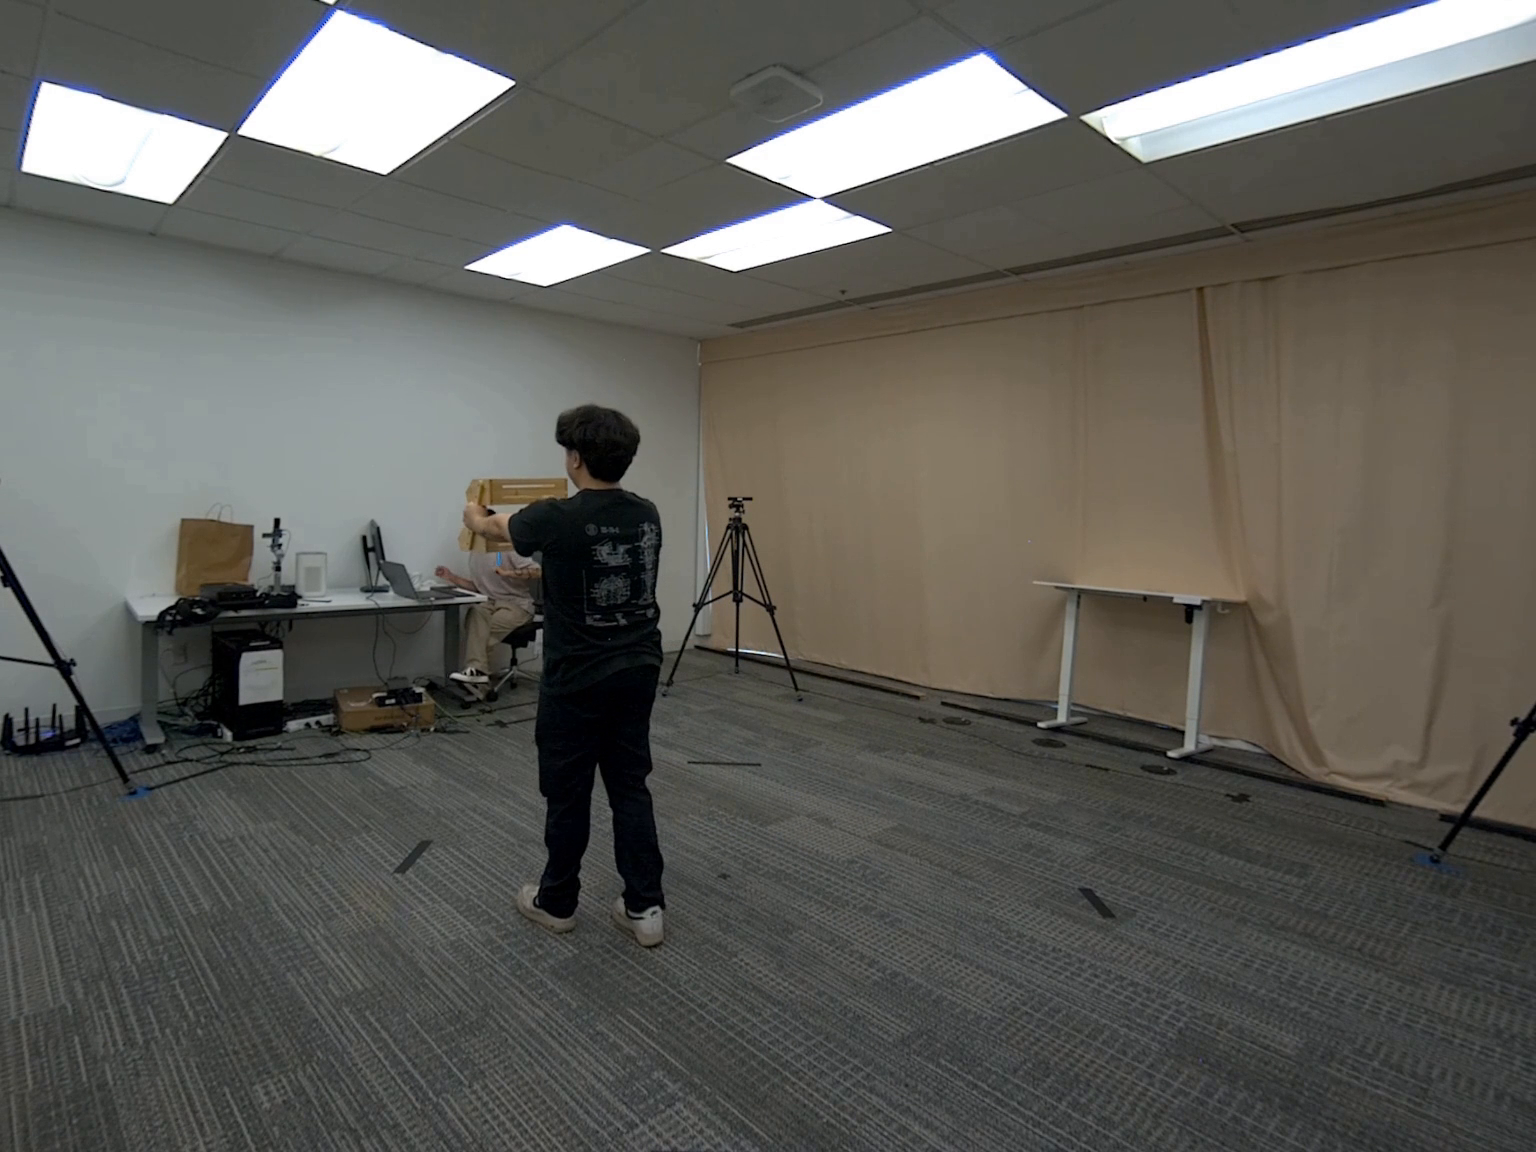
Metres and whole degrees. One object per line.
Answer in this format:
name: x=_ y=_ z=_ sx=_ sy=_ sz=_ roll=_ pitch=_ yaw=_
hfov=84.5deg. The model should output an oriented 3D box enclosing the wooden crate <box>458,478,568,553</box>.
wooden crate: x=-0.957 y=-0.234 z=3.113 sx=0.317 sy=0.272 sz=0.310 roll=-6 pitch=7 yaw=-41
